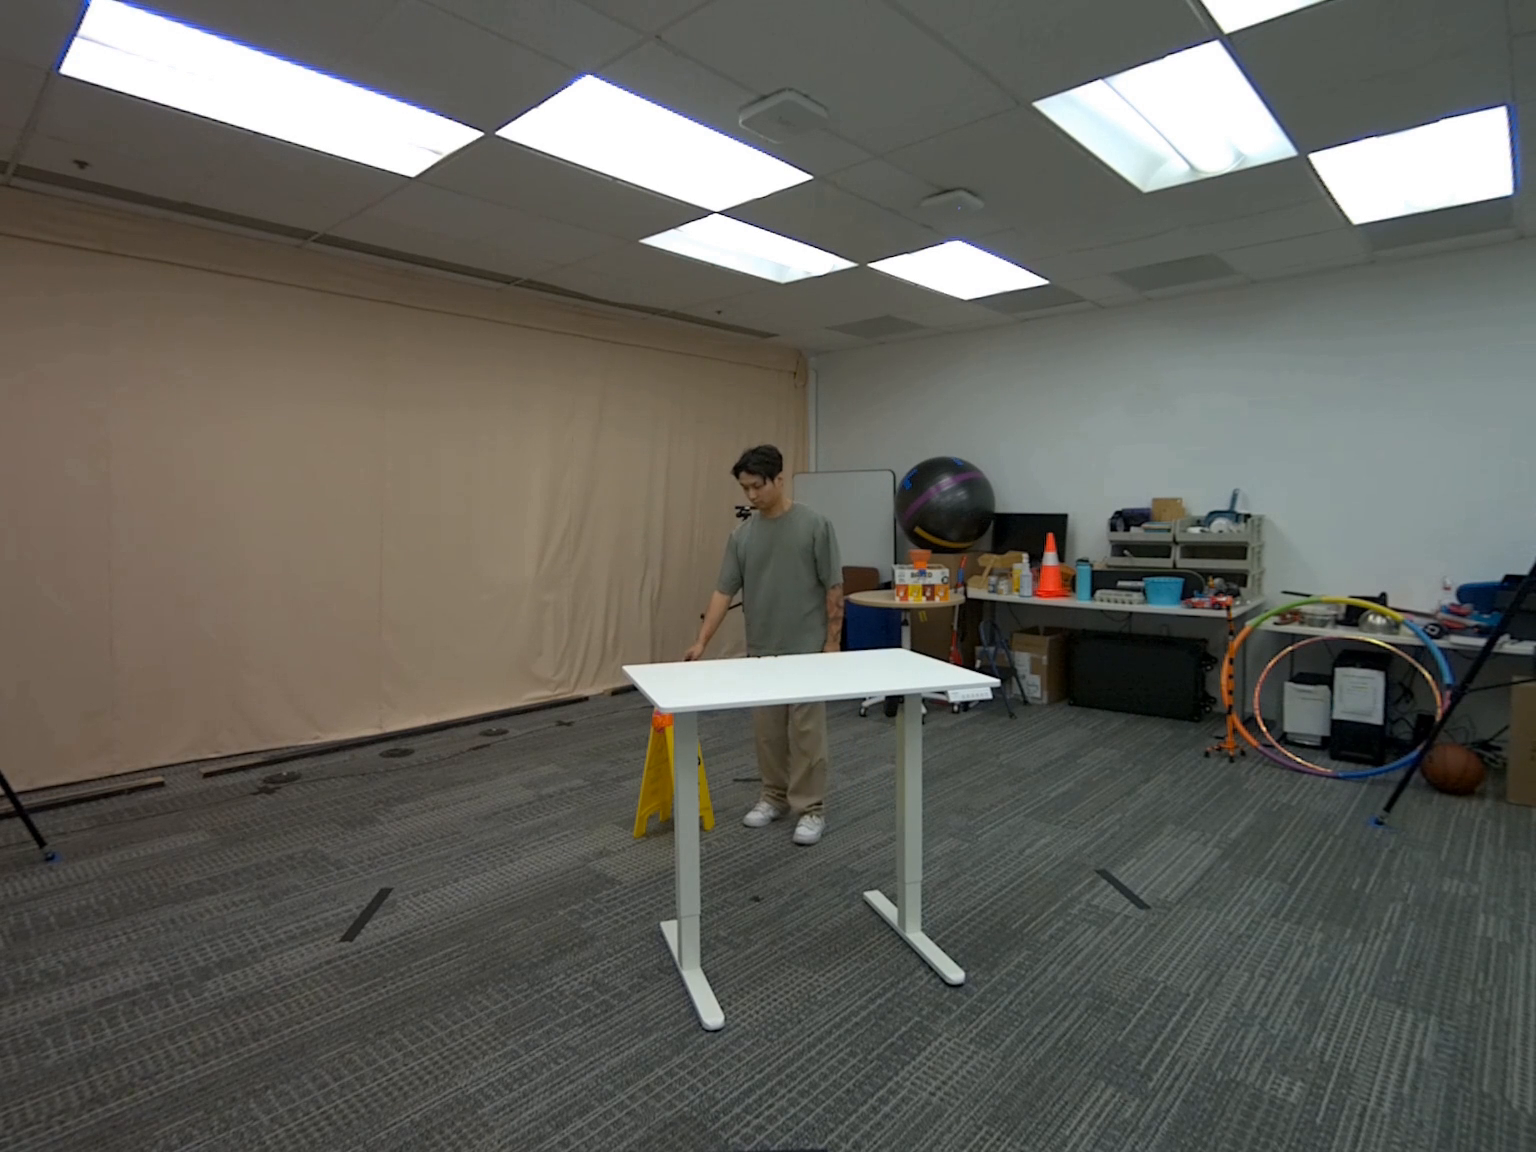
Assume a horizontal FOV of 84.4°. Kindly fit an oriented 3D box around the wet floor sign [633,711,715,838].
[{"bbox_3d":[-0.403,0.772,3.590,0.297,0.645,0.276,1,2,24],"label":"wet floor sign"}]
